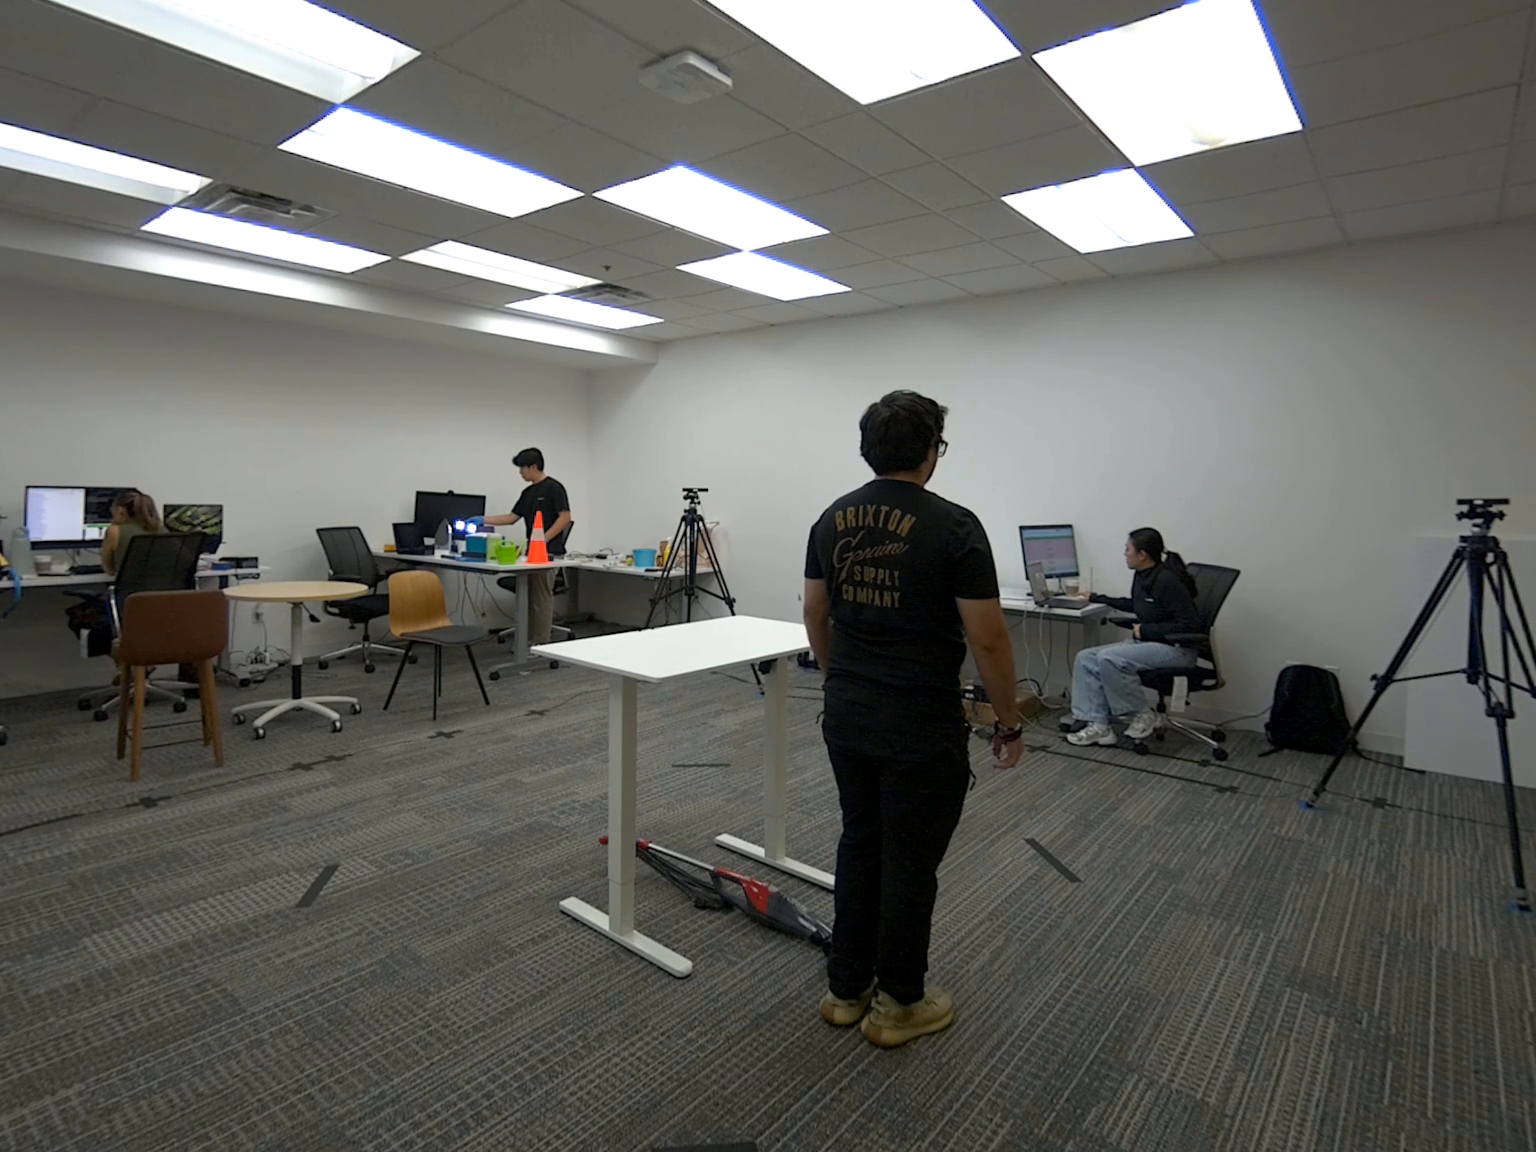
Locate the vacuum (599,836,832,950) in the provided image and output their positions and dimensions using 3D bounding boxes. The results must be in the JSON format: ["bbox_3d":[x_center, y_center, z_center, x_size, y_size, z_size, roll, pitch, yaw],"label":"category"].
[{"bbox_3d":[-0.186,1.036,2.860,1.083,0.143,0.245,4,5,36],"label":"vacuum"}]
